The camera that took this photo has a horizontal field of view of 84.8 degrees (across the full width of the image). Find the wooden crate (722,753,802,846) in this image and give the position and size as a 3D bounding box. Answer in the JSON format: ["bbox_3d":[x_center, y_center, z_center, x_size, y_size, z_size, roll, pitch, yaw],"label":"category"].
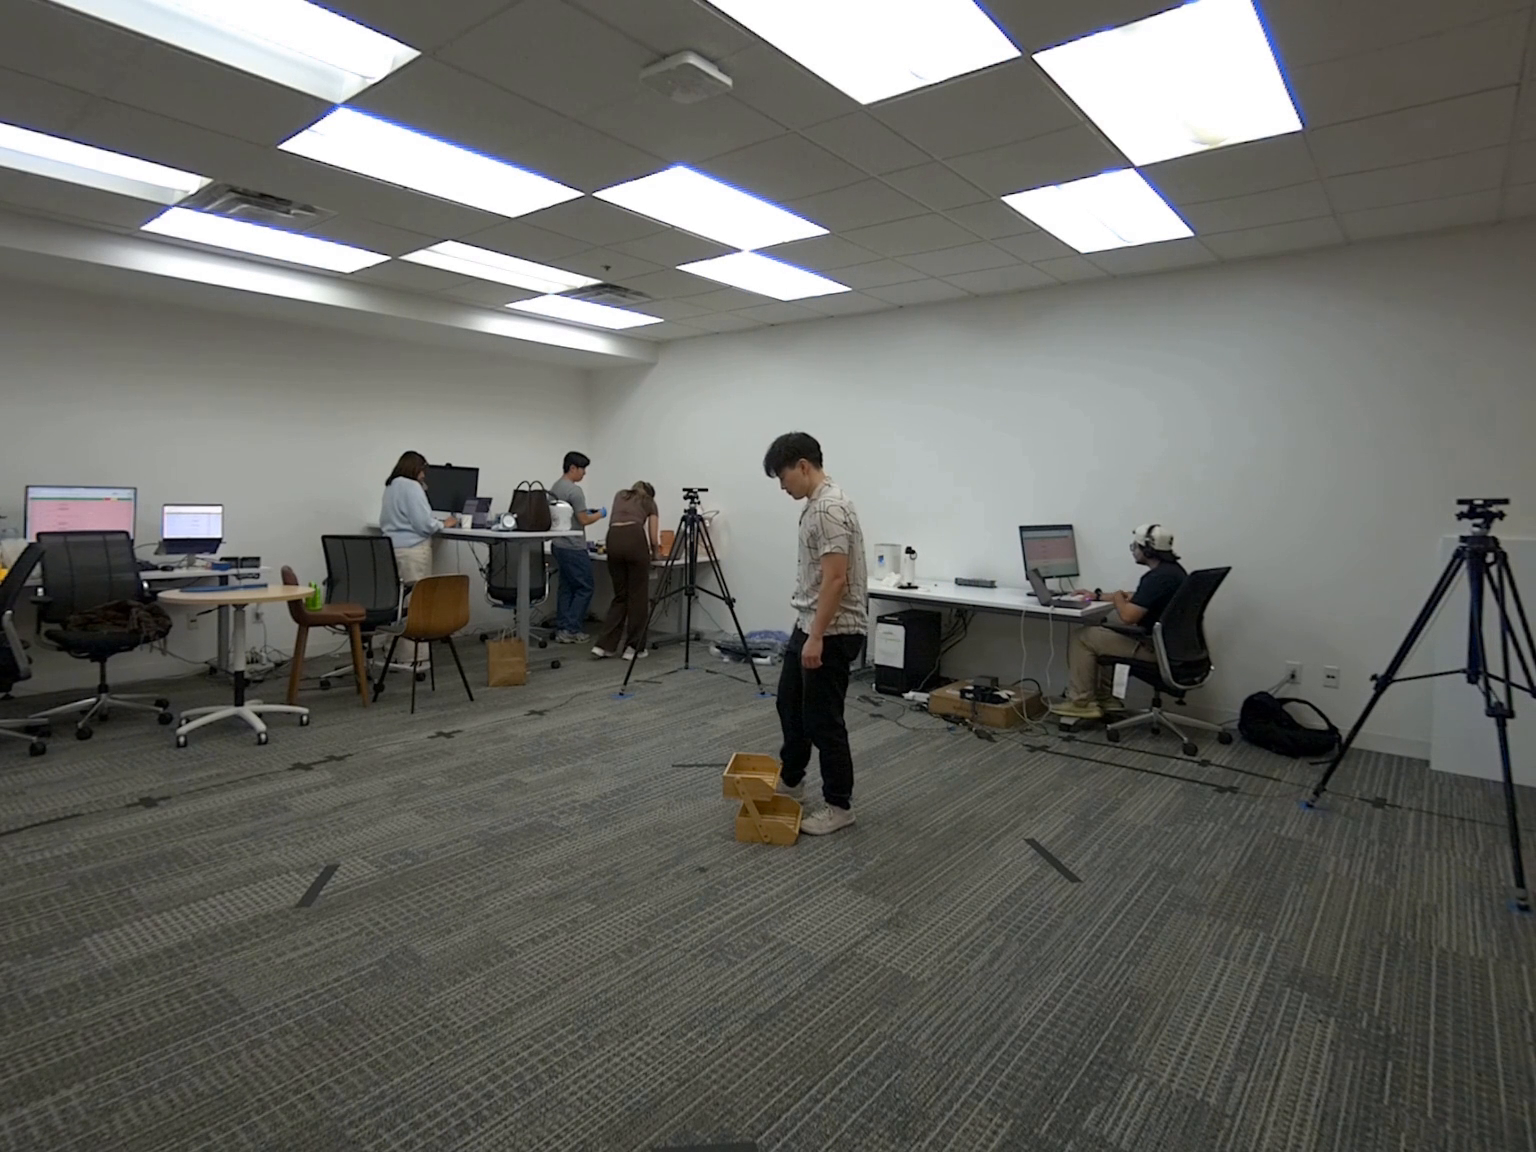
[{"bbox_3d":[-0.019,0.904,3.499,0.305,0.272,0.322,1,4,8],"label":"wooden crate"}]
